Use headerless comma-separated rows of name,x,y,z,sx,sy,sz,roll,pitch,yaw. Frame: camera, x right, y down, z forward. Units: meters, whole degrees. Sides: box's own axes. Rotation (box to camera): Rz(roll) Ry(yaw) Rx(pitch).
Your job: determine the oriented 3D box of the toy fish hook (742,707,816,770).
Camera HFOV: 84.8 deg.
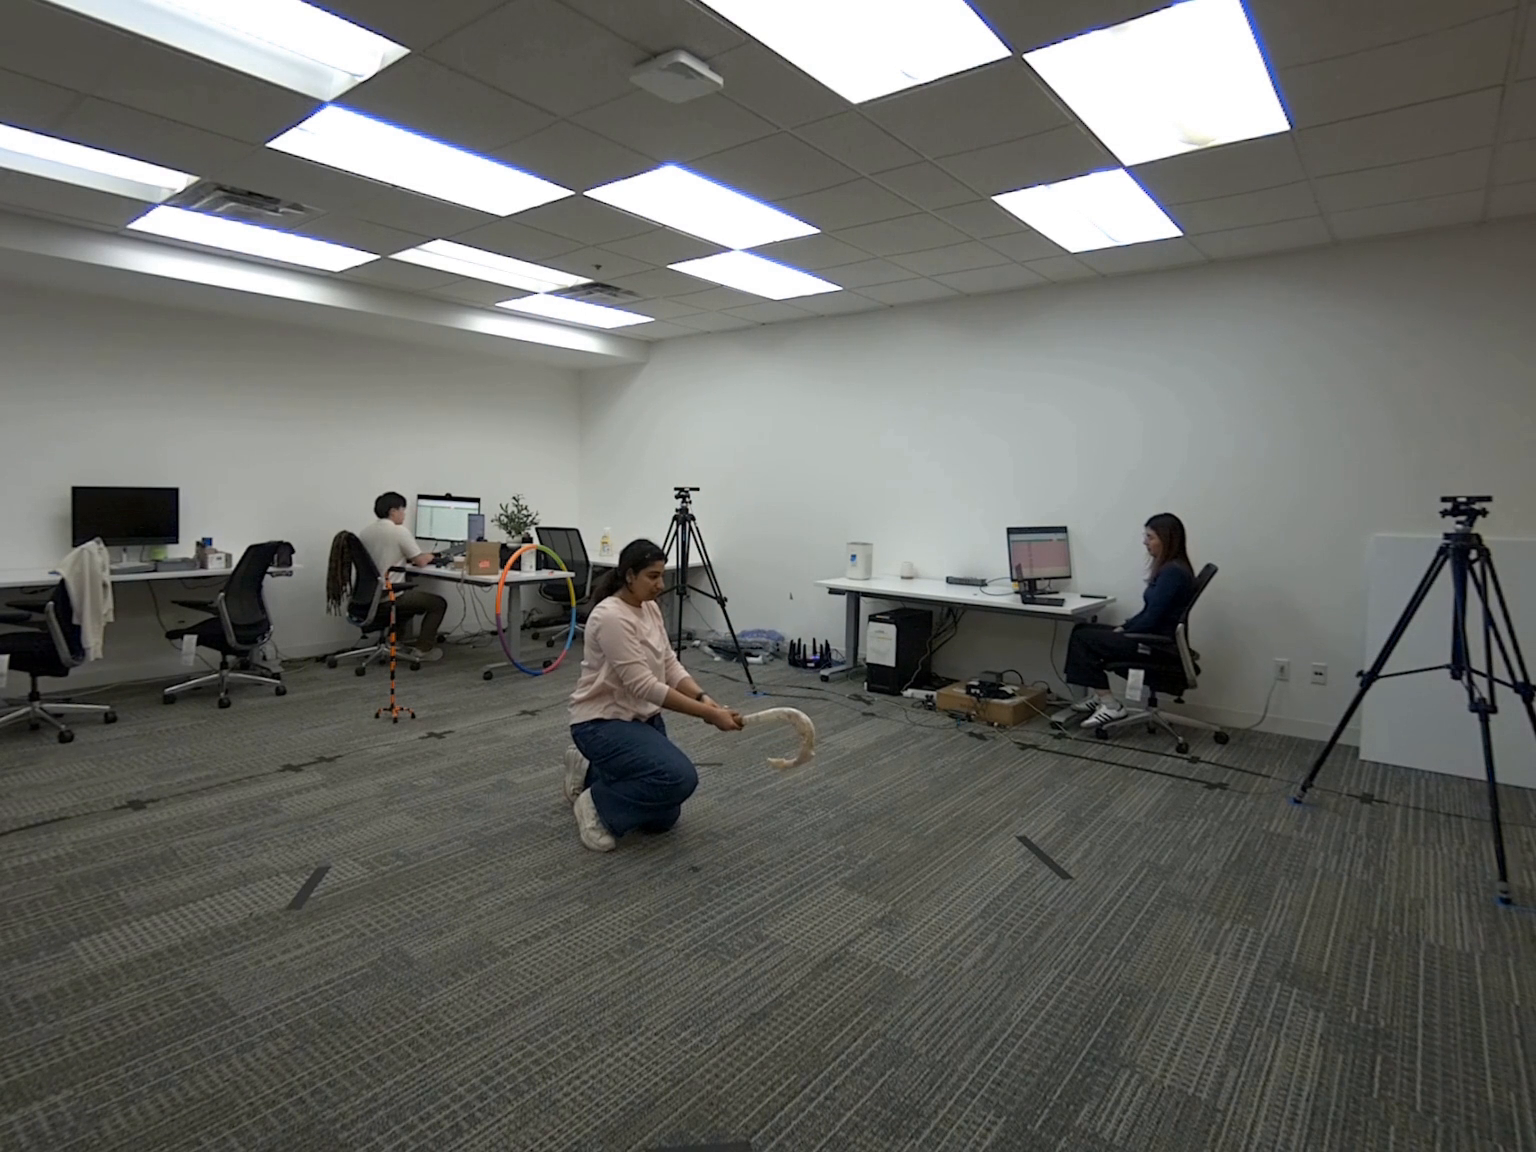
toy fish hook,-0.052,0.579,3.201,0.521,0.226,0.046,-2,-9,34
